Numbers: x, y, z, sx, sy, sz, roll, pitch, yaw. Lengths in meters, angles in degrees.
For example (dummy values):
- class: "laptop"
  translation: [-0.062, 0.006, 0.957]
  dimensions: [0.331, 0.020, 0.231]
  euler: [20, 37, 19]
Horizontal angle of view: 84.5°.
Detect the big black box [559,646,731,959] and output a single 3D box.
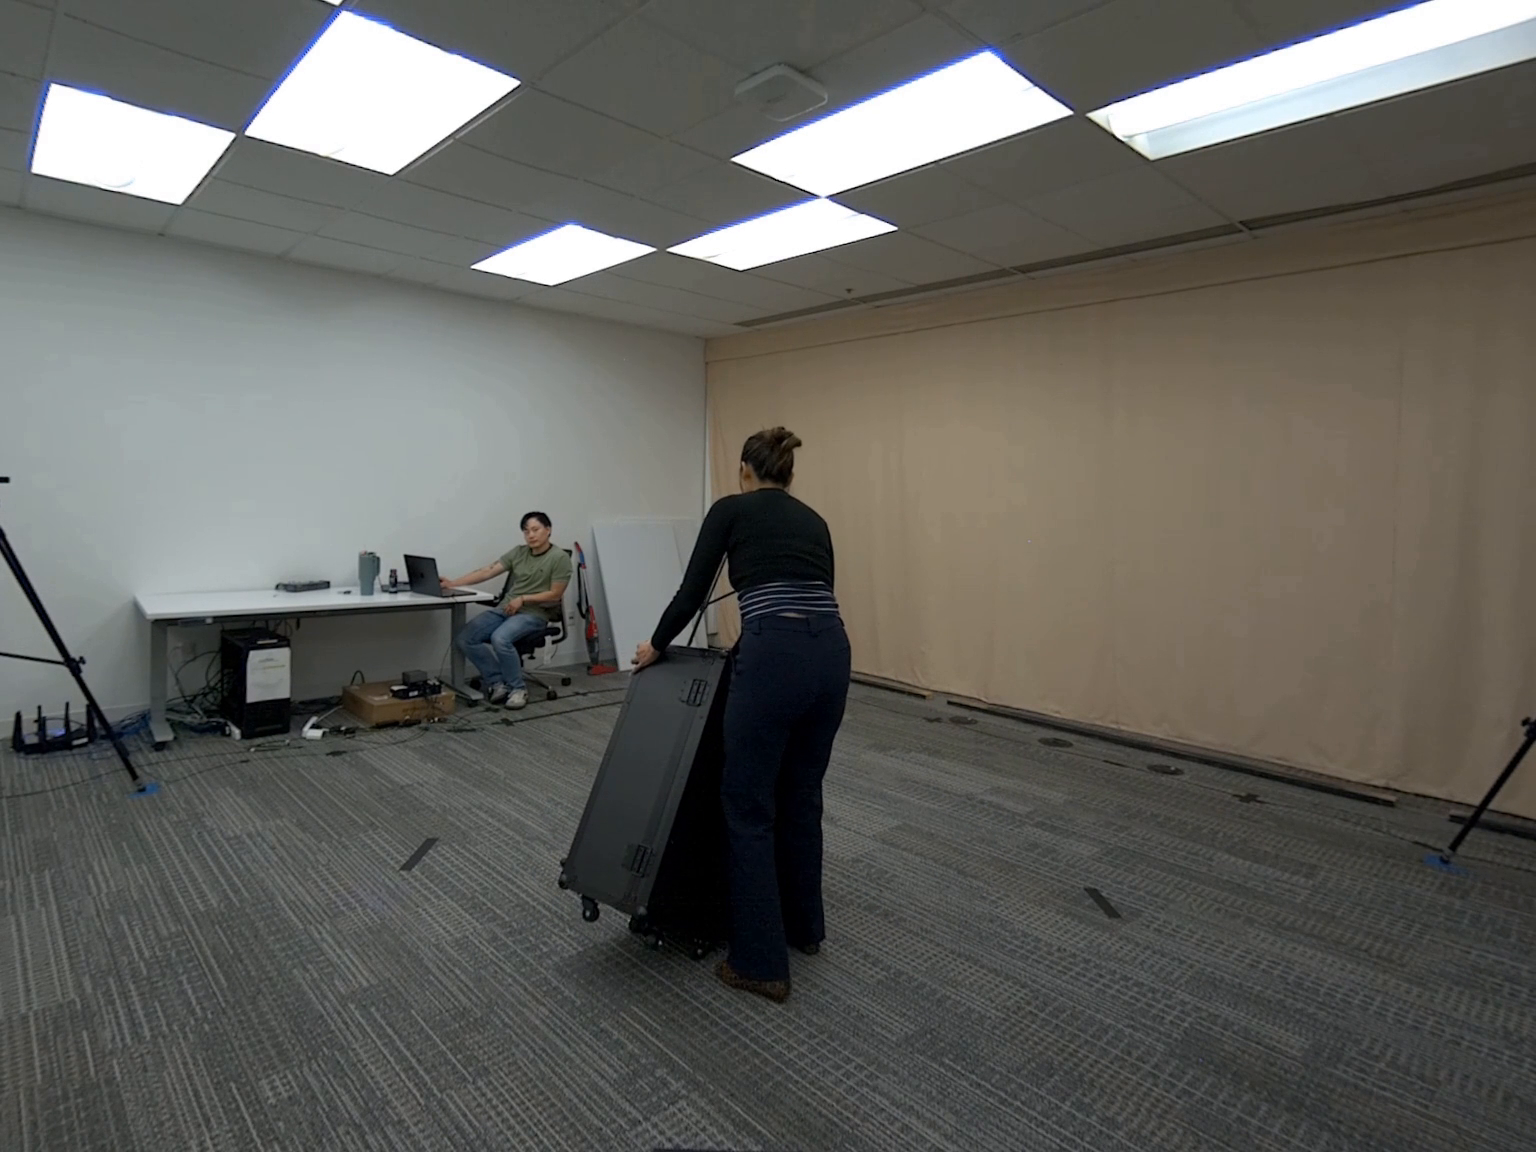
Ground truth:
- class: "big black box"
  translation: [-0.276, 0.702, 2.675]
  dimensions: [0.405, 0.870, 0.504]
  euler: [-1, -27, 37]
